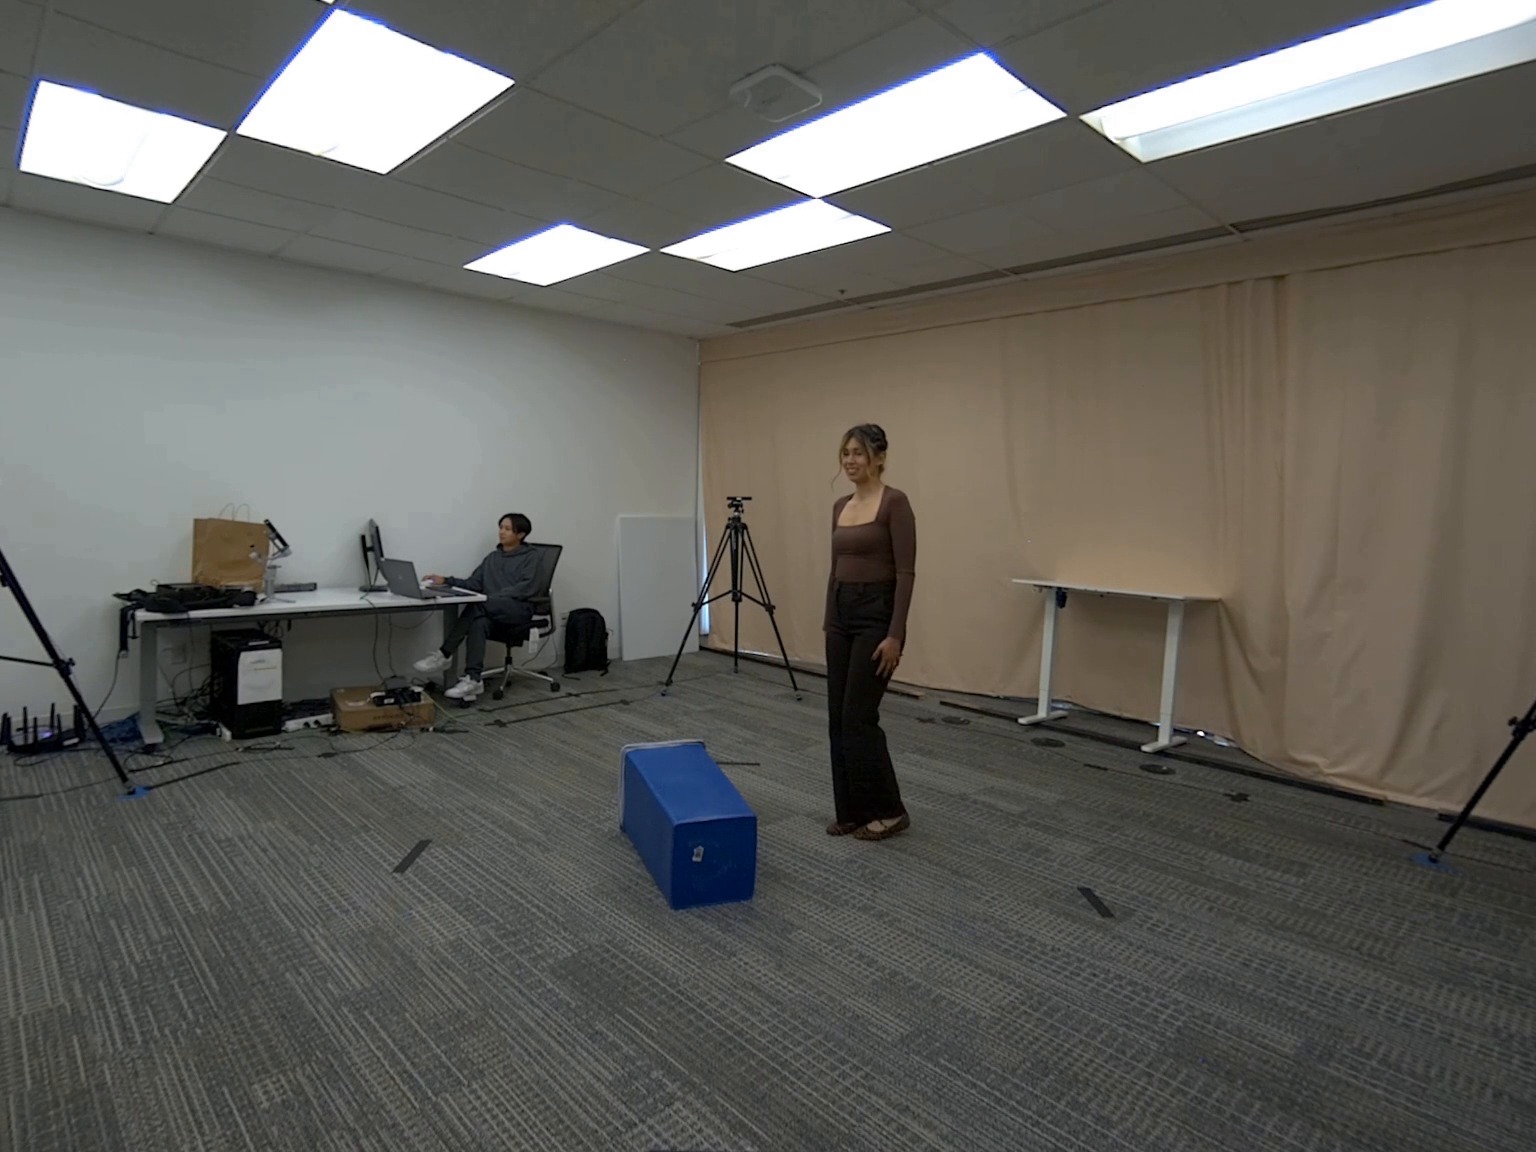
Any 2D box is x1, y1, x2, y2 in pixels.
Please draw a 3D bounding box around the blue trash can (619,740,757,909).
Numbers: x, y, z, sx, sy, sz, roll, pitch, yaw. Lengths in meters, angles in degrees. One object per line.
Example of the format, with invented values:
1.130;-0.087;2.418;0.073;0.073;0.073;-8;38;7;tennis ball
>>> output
-0.325;0.922;3.194;0.368;0.377;0.727;1;6;-21;blue trash can
